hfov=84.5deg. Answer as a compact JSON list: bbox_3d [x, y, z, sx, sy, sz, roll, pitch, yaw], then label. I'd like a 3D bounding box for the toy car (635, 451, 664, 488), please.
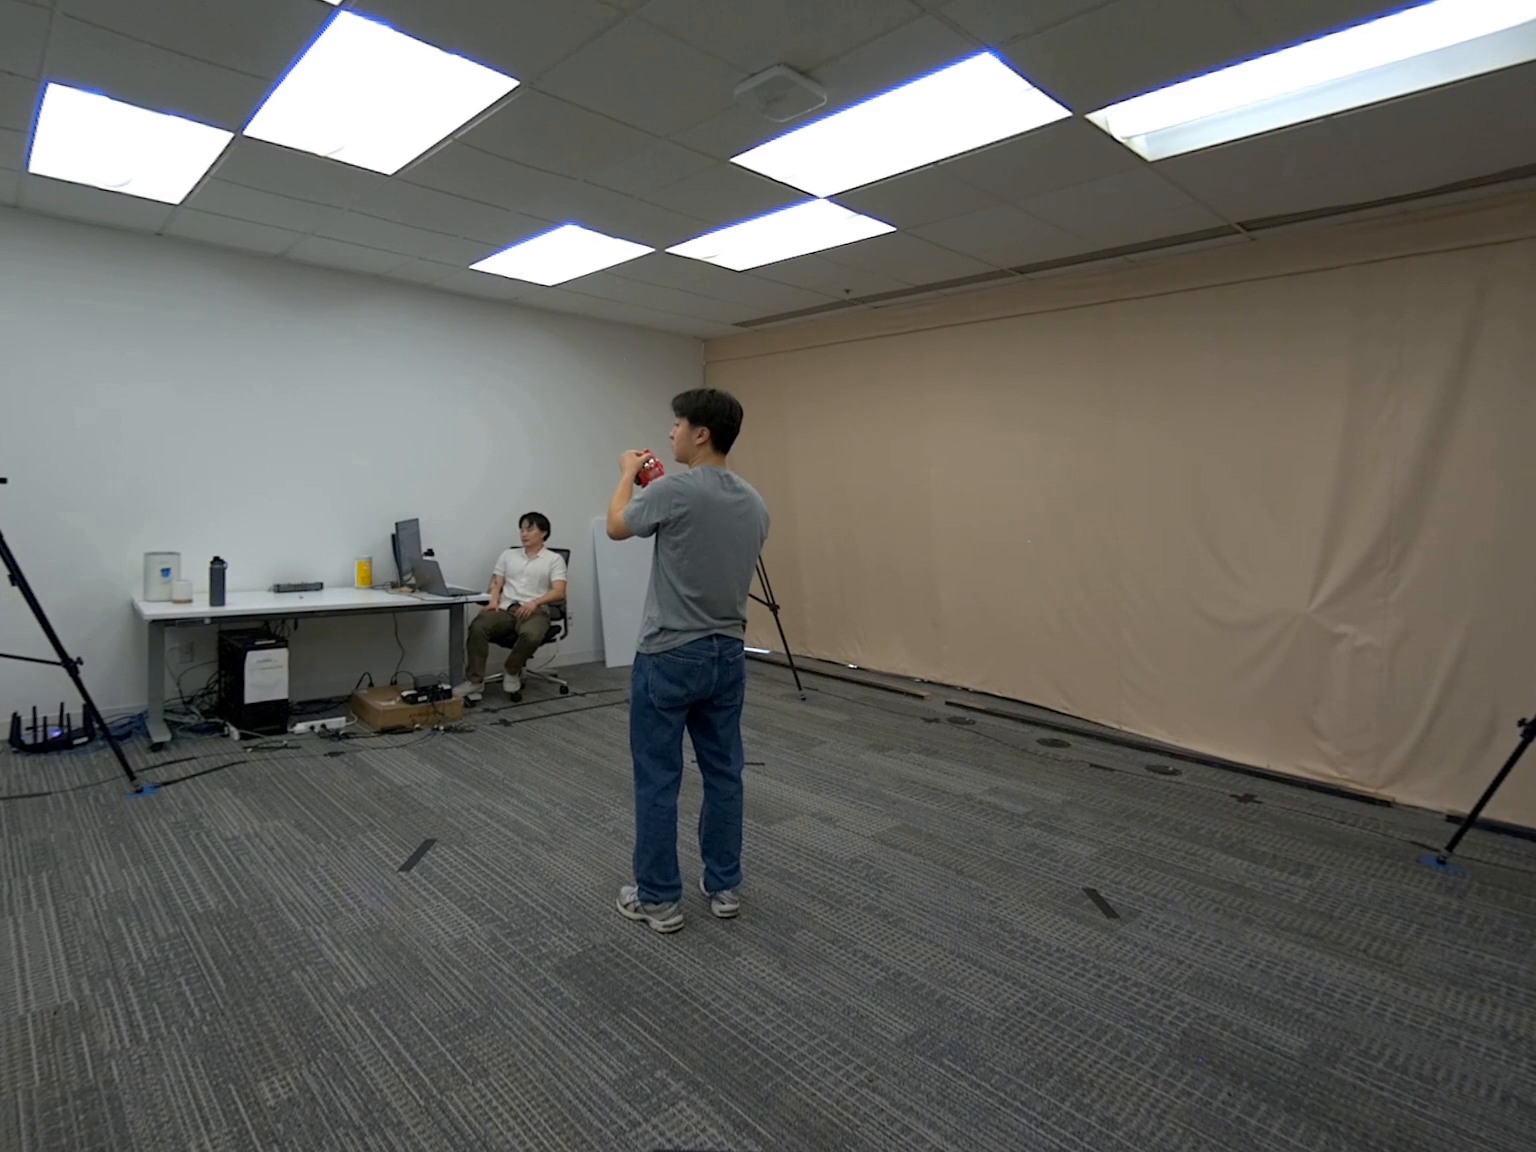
[{"bbox_3d":[-0.413,-0.332,3.049,0.085,0.249,0.129,6,34,47],"label":"toy car"}]
